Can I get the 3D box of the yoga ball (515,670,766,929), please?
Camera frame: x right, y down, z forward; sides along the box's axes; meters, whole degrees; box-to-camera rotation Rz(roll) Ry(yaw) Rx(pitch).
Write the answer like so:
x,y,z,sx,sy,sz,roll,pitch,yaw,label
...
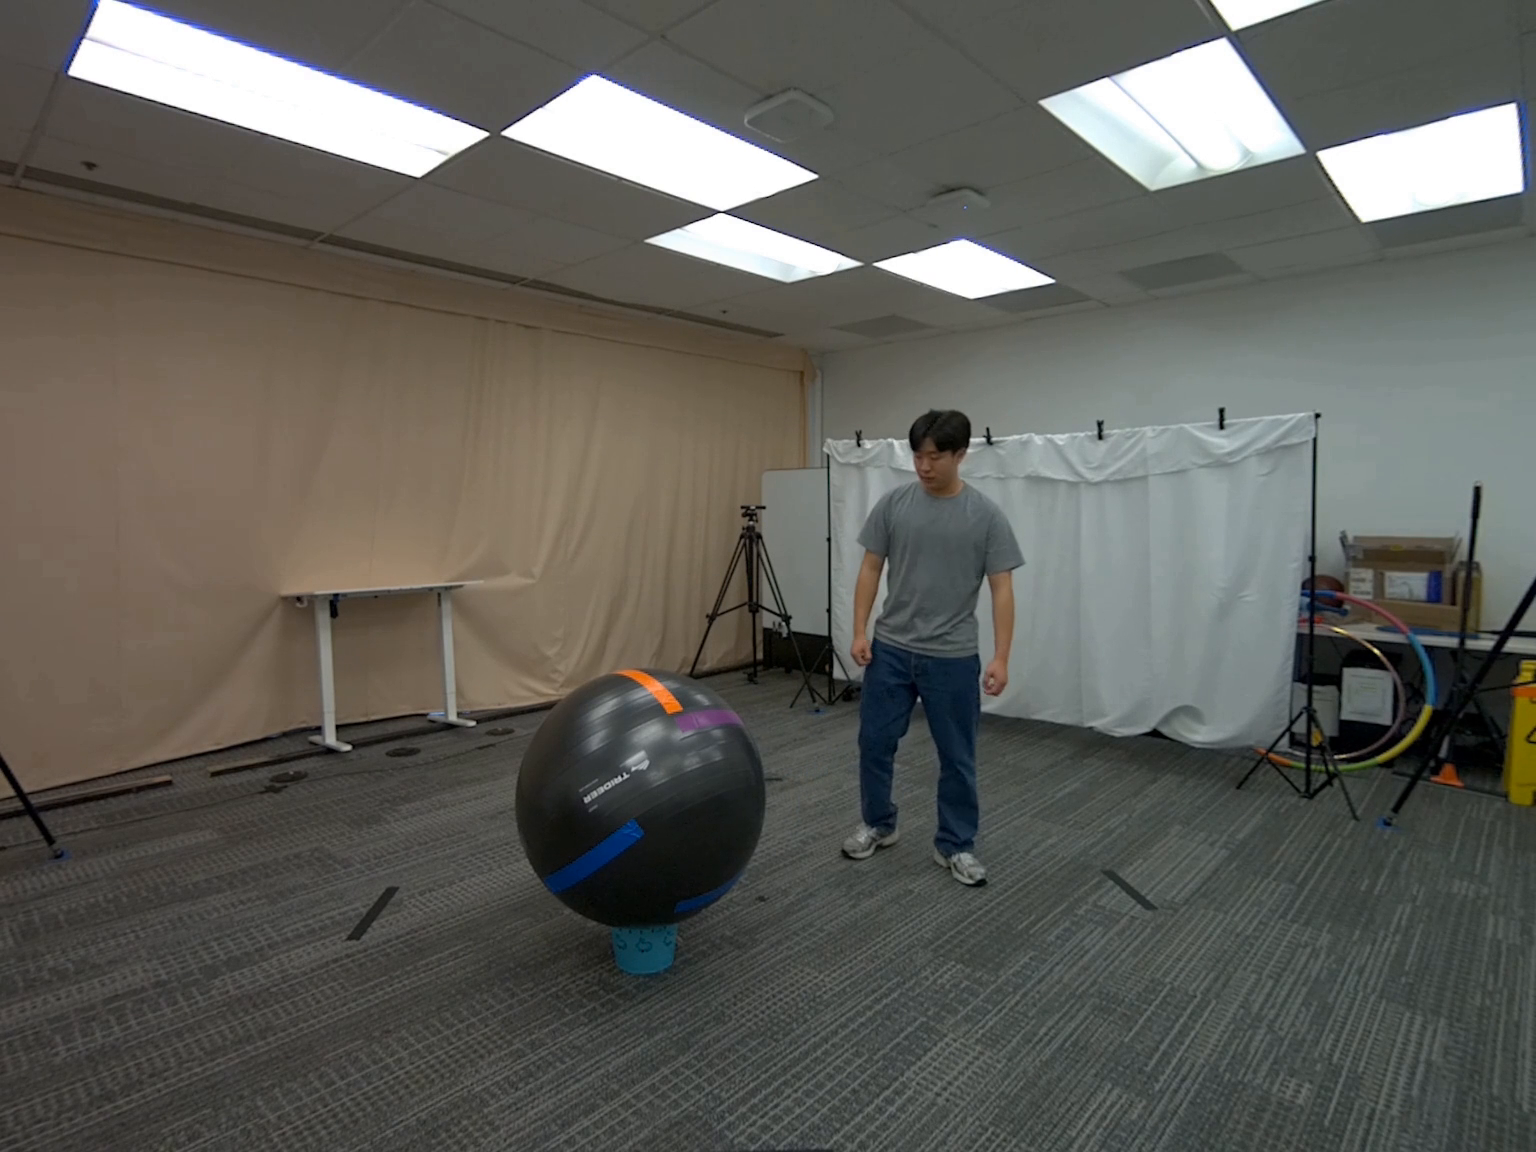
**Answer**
x,y,z,sx,sy,sz,roll,pitch,yaw,label
-0.394,0.670,2.568,0.757,0.756,0.761,0,4,-2,yoga ball
